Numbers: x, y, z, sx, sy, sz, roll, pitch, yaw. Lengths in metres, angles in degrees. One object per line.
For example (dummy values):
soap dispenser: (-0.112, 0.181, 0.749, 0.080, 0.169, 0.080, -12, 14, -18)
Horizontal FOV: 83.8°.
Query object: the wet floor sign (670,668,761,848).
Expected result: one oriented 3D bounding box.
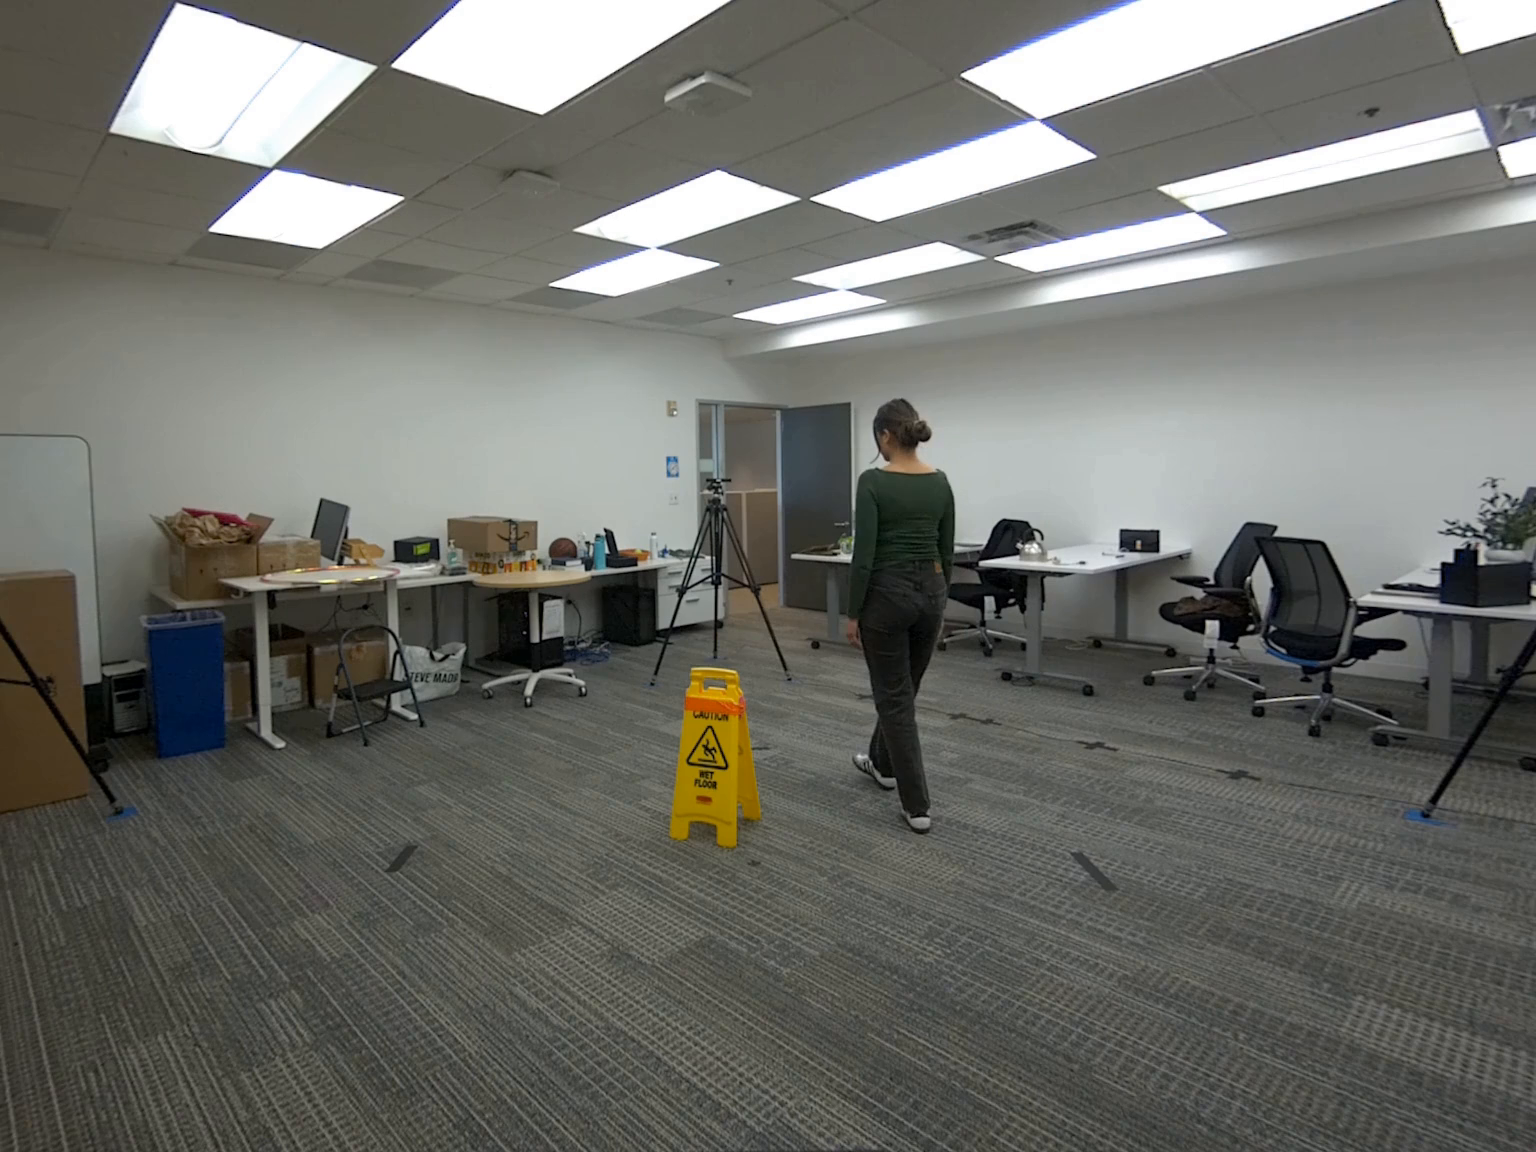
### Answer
wet floor sign: (-0.210, 0.689, 3.398, 0.288, 0.644, 0.285, 0, 4, 21)
